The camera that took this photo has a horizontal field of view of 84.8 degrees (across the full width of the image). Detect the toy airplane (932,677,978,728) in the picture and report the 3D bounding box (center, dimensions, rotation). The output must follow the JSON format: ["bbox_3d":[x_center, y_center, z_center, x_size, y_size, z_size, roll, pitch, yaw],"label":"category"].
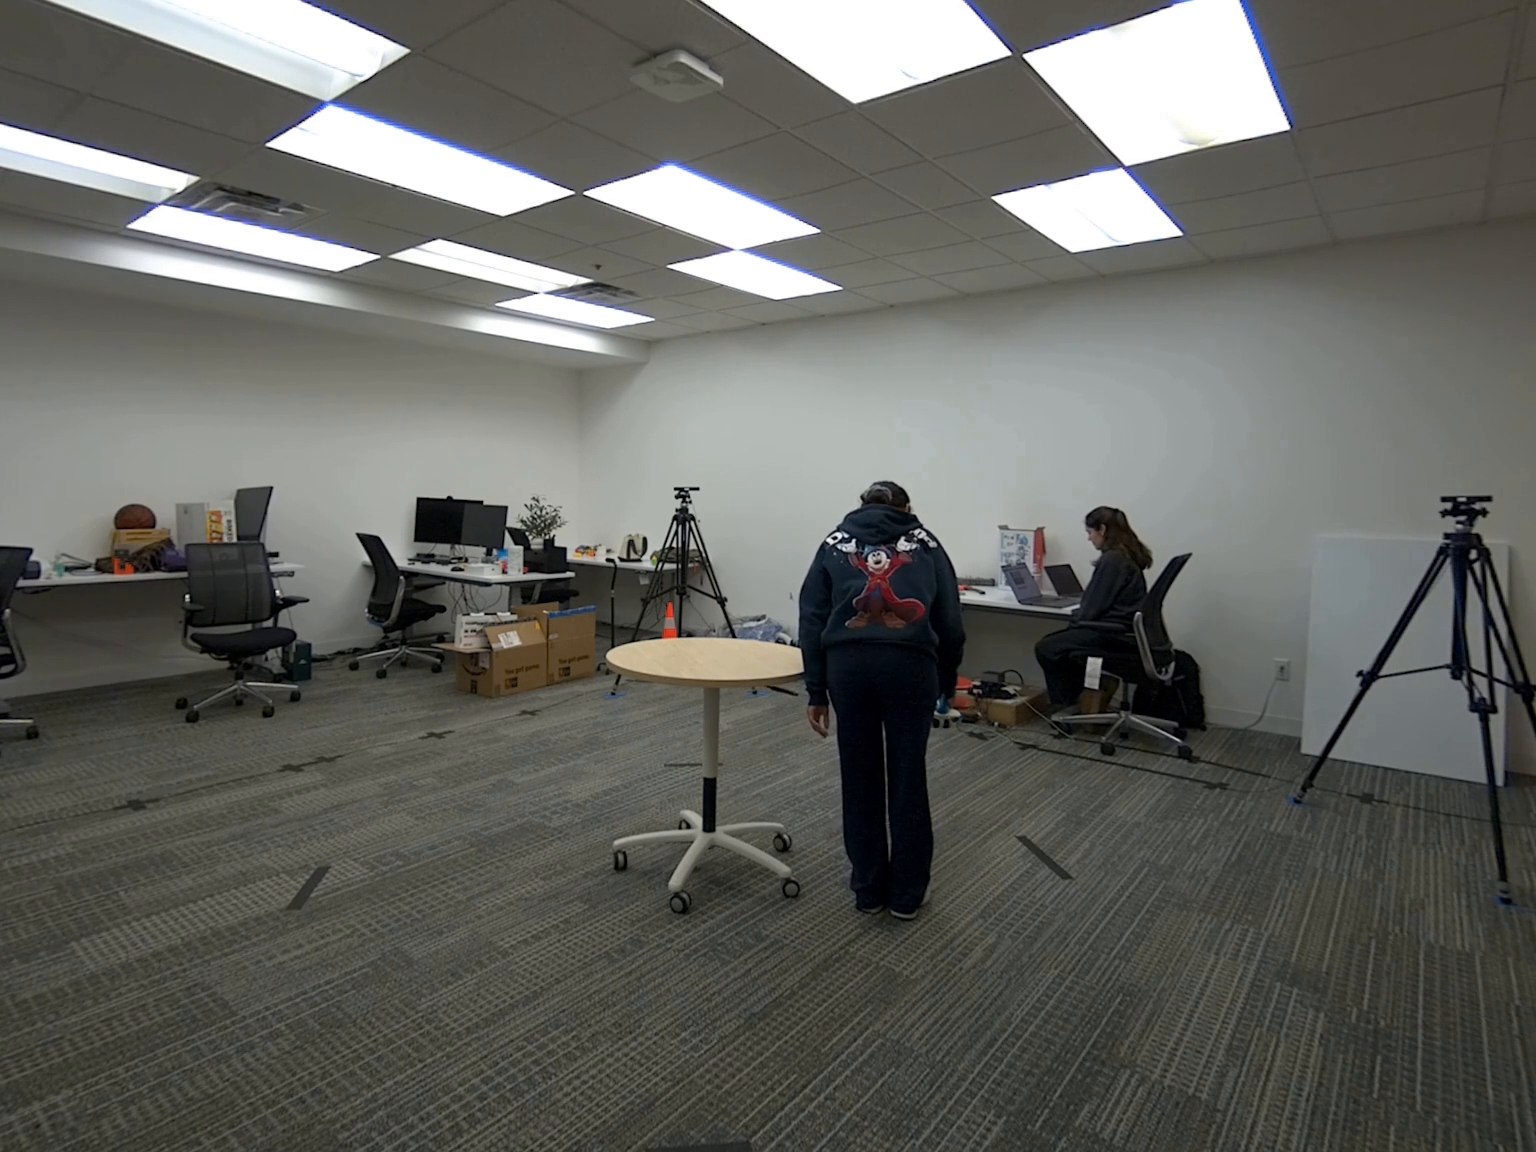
[{"bbox_3d":[0.620,0.444,3.035,0.245,0.156,0.266,-1,3,-25],"label":"toy airplane"}]
